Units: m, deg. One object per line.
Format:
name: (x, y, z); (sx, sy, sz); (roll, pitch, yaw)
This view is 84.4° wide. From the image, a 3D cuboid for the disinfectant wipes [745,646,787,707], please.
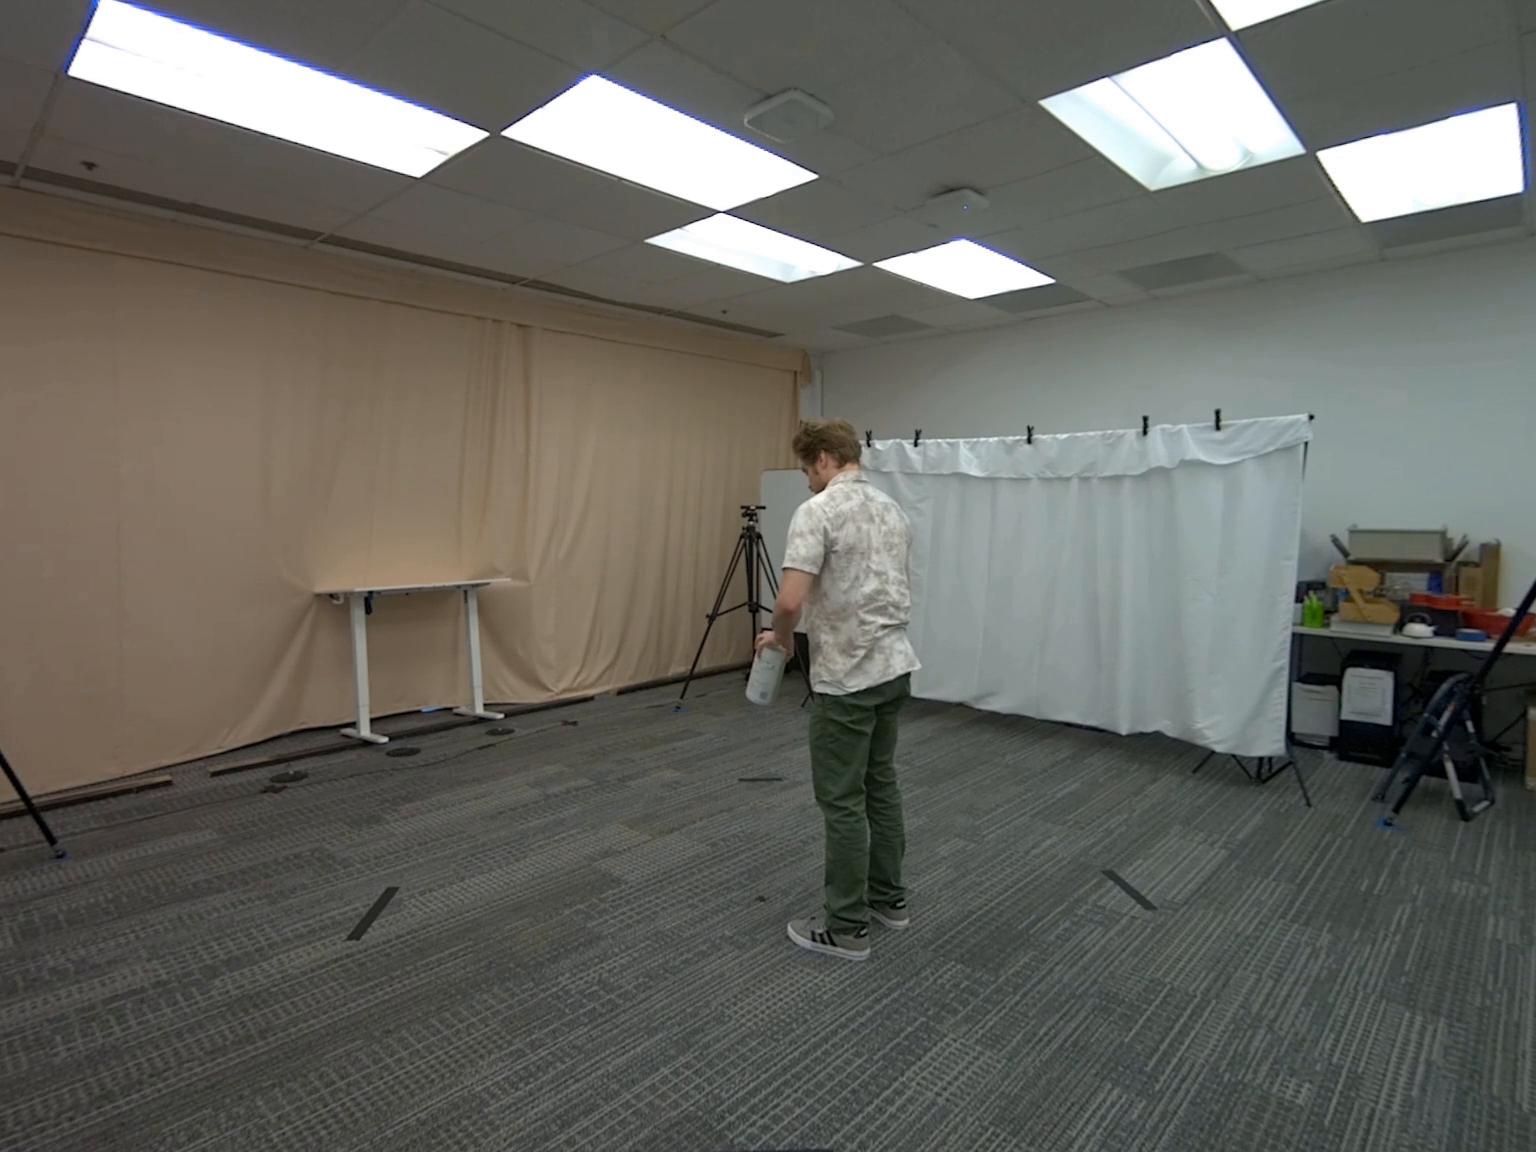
disinfectant wipes: (0.008, 0.330, 2.894); (0.117, 0.216, 0.119); (10, 19, -5)
